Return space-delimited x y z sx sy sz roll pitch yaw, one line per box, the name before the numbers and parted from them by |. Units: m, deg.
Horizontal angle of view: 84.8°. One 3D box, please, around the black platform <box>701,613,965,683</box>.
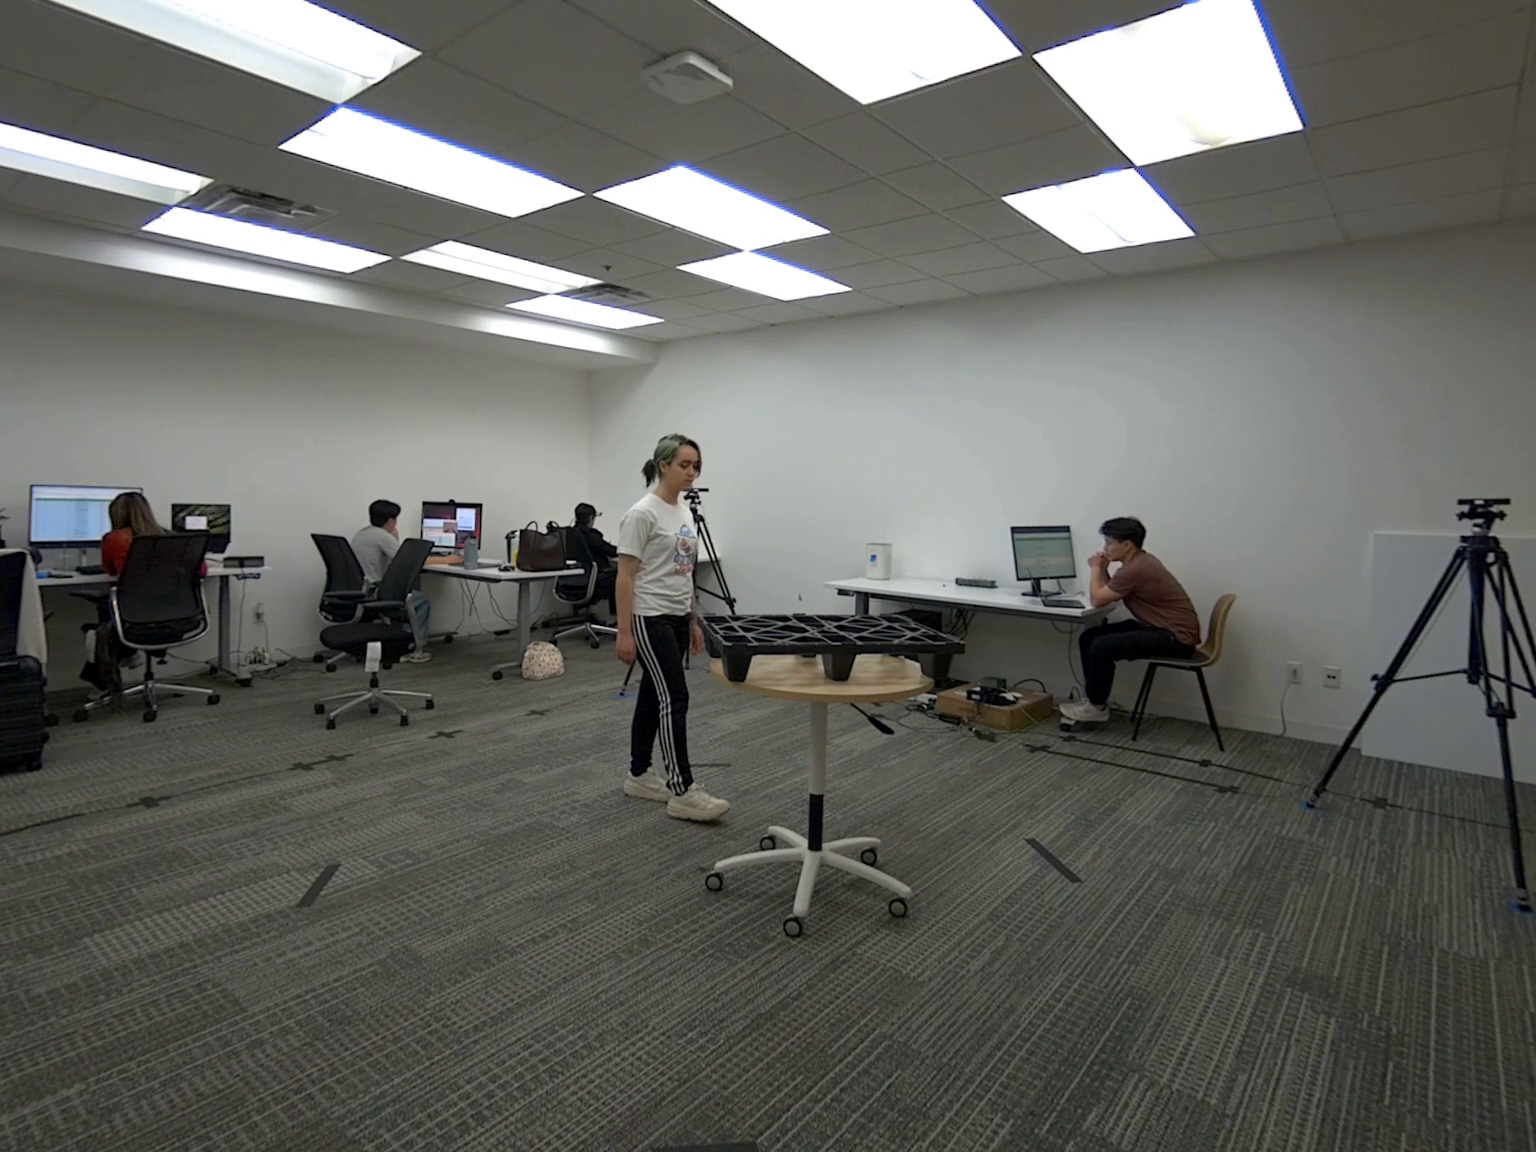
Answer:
black platform | 0.180 0.244 2.965 0.796 0.142 0.615 0 7 -11
